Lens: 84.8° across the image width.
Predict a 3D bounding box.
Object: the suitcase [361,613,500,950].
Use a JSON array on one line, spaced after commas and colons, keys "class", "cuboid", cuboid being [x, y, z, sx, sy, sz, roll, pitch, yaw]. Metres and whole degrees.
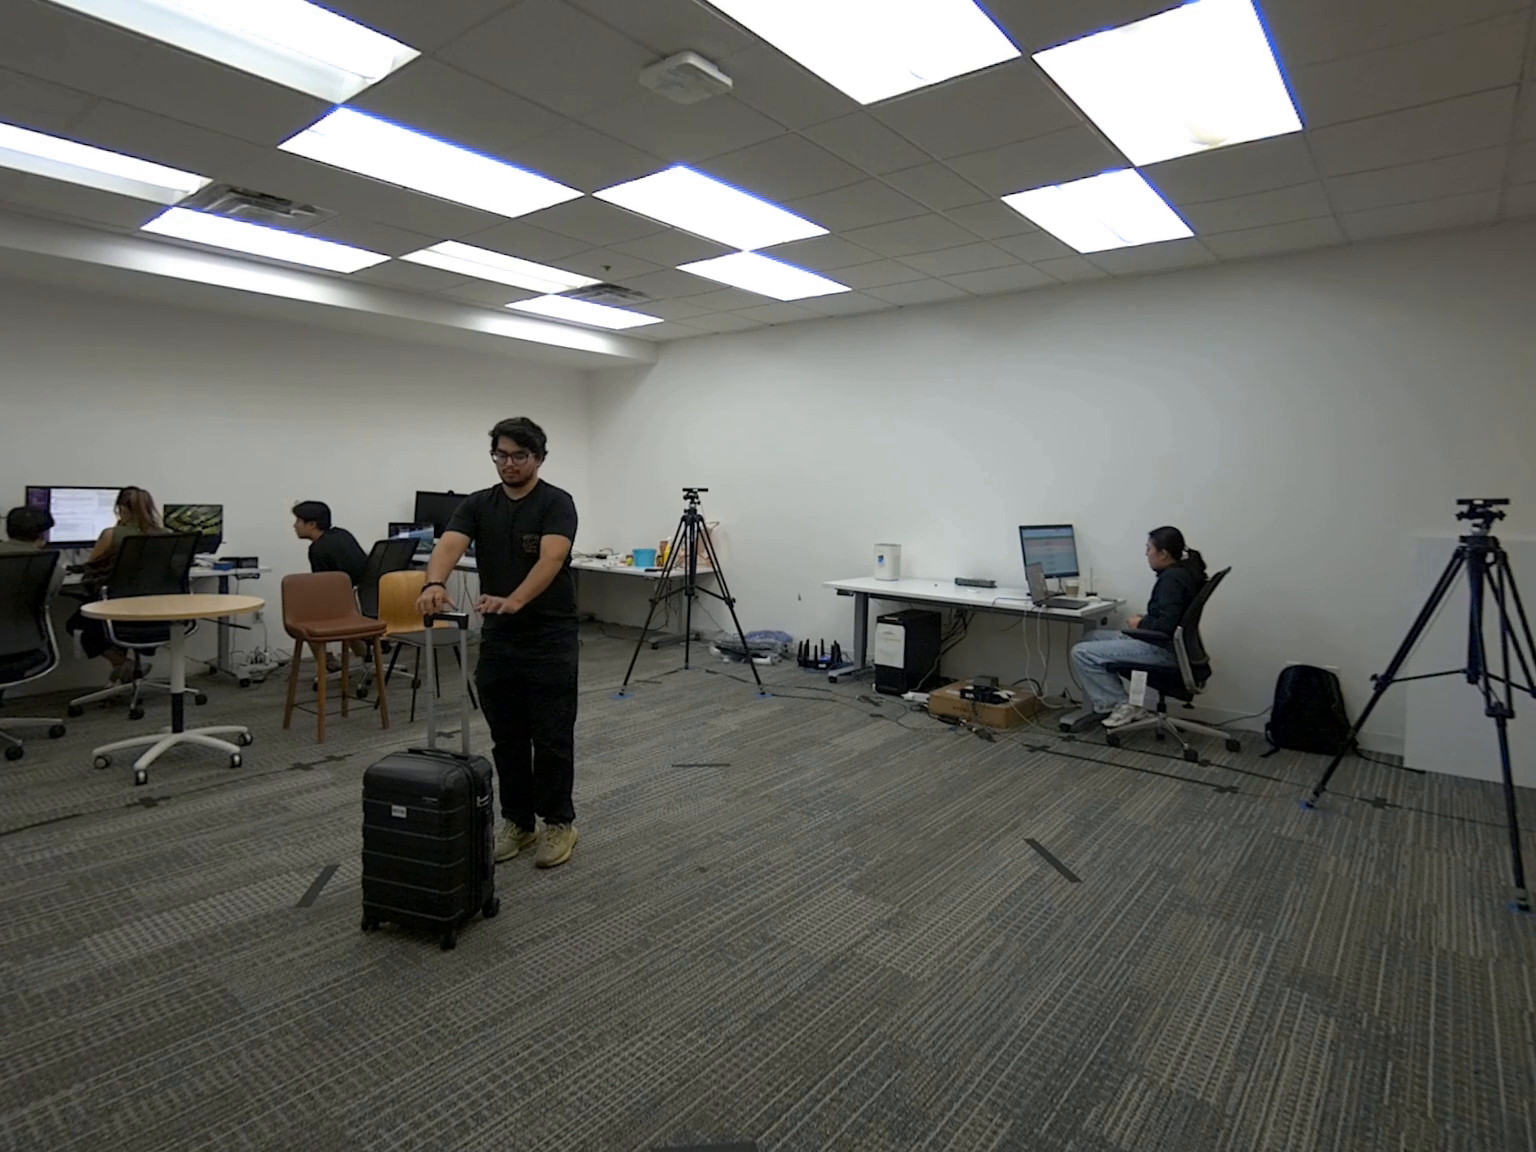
[{"class": "suitcase", "cuboid": [-1.069, 0.626, 2.648, 0.391, 0.973, 0.254, 3, 6, 16]}]
